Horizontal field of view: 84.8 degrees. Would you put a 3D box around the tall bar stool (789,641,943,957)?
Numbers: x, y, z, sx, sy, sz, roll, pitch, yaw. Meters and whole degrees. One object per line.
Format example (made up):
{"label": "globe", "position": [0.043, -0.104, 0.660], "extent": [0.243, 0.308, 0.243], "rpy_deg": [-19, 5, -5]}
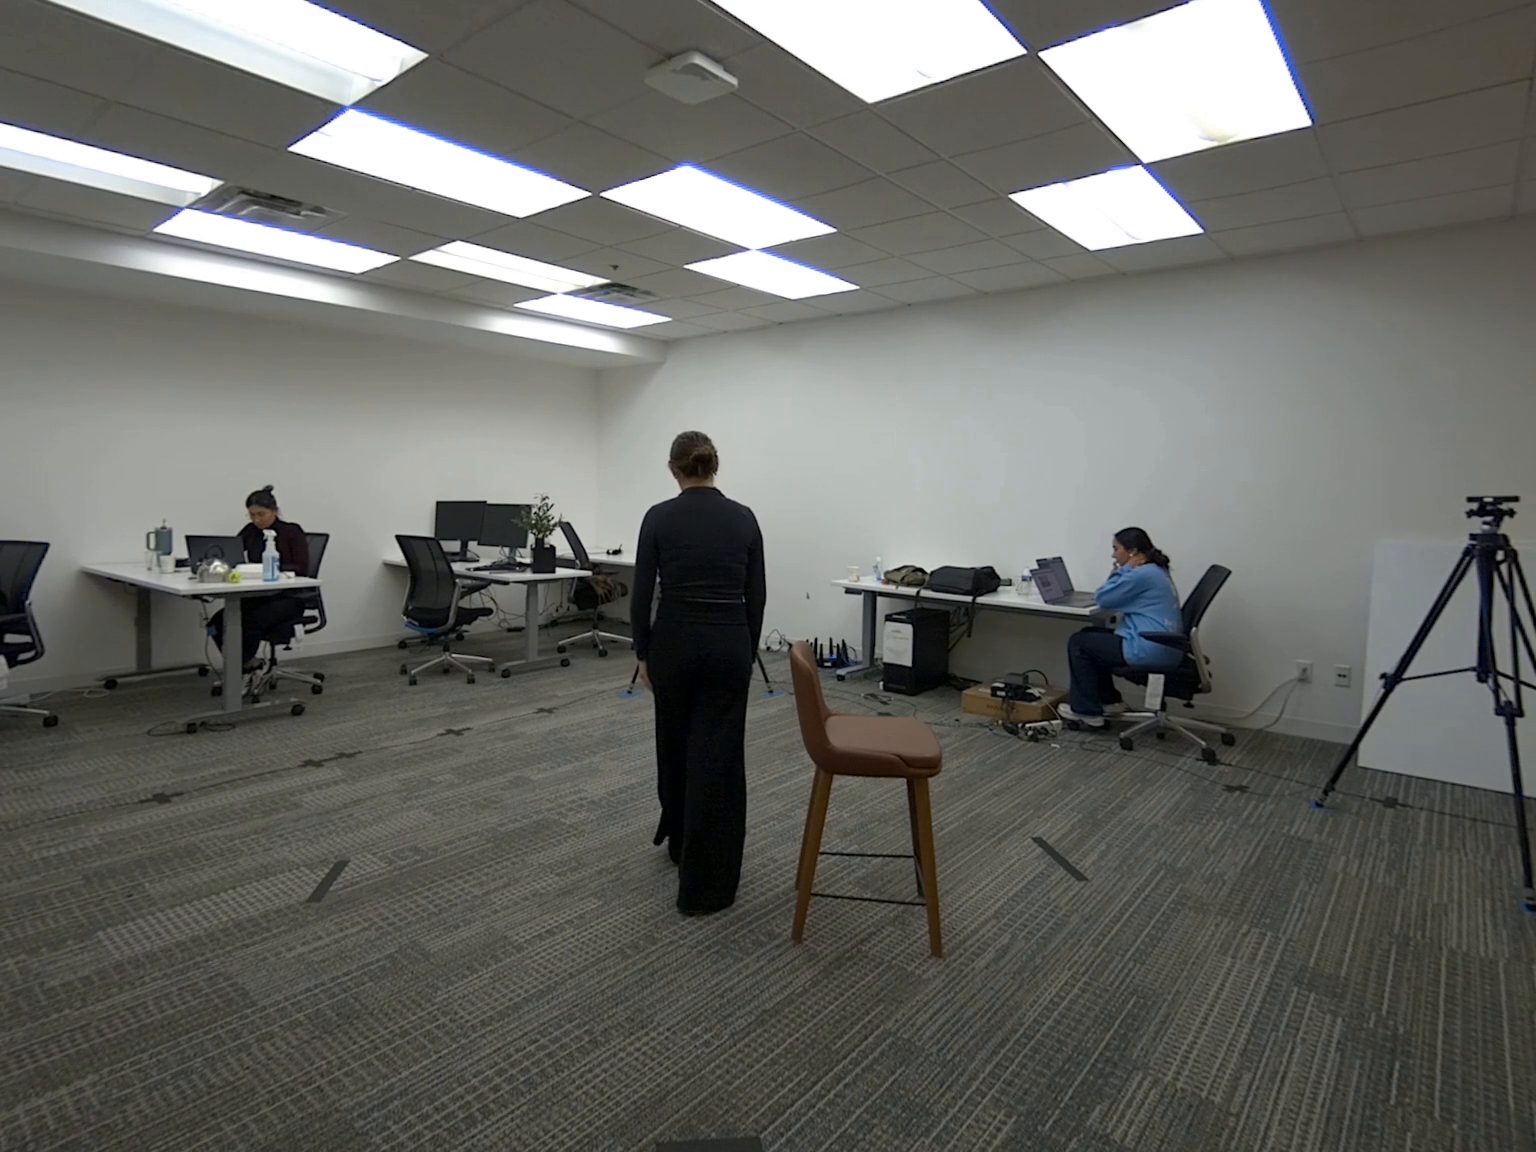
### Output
{"label": "tall bar stool", "position": [0.309, 0.676, 2.746], "extent": [0.471, 0.888, 0.454], "rpy_deg": [0, 3, 6]}
